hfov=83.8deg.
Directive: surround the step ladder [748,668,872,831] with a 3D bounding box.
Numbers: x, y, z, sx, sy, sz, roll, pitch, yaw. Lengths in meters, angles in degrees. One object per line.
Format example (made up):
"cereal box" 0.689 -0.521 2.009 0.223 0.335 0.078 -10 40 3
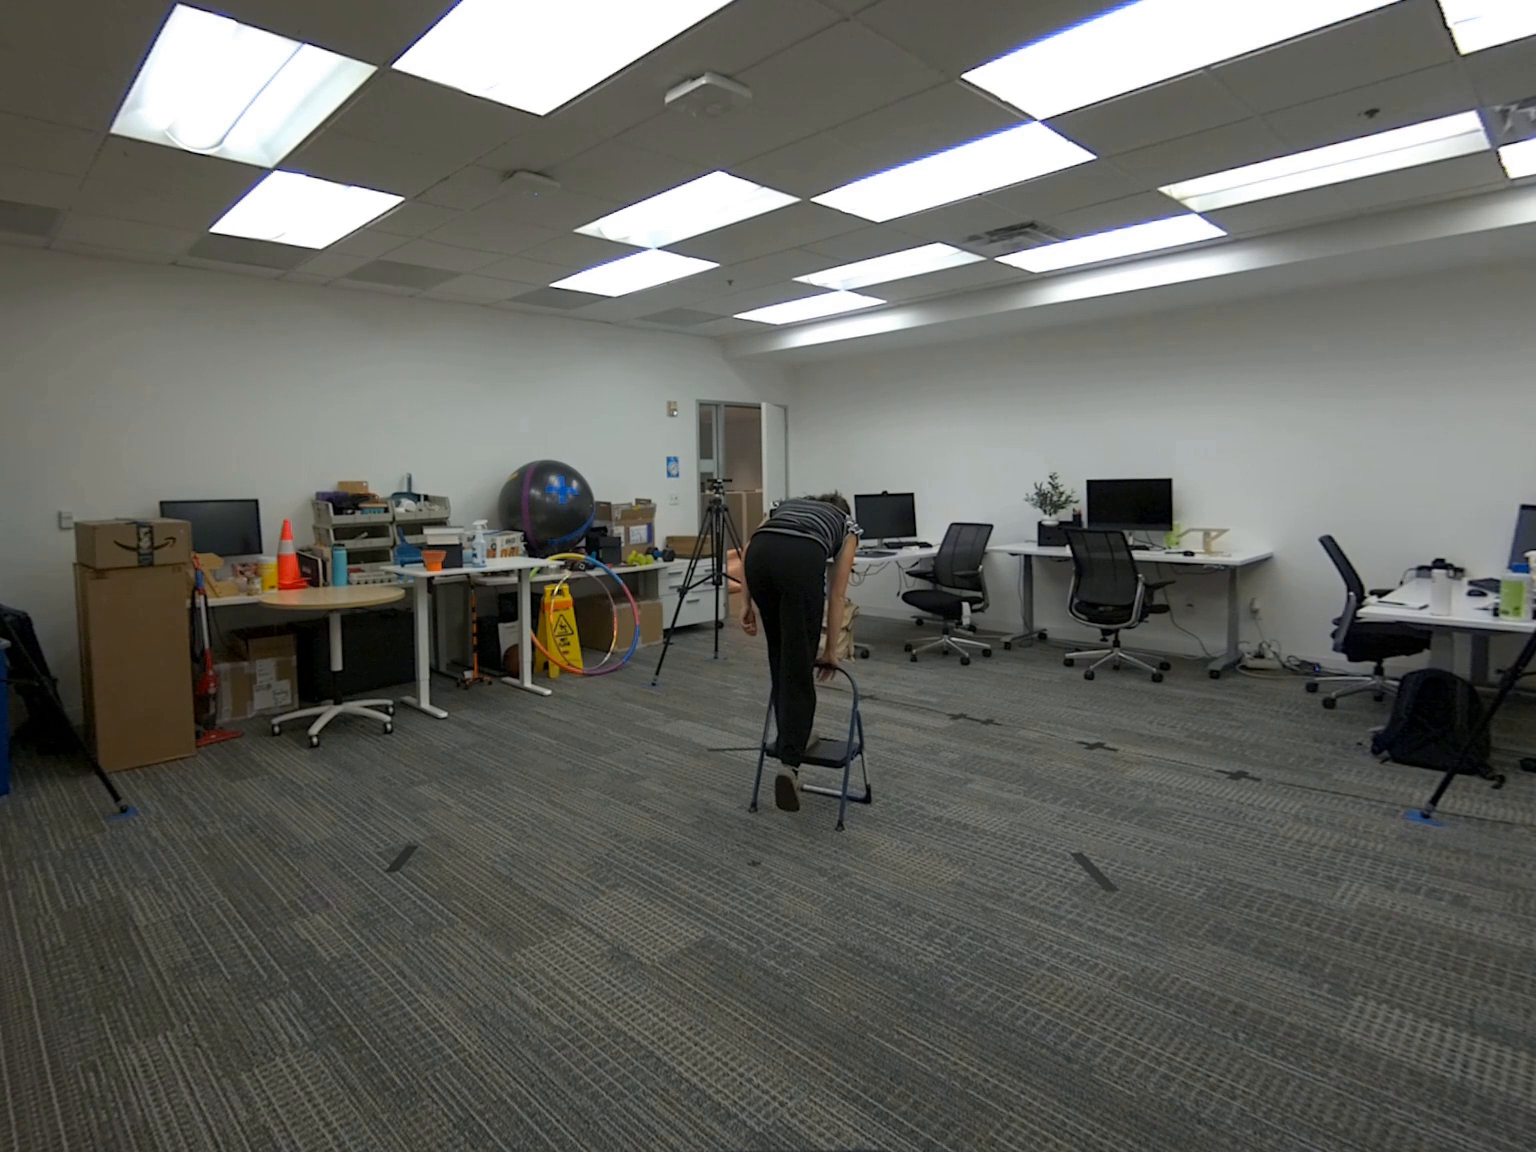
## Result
"step ladder" 0.185 0.683 3.615 0.442 0.603 0.342 3 6 30
